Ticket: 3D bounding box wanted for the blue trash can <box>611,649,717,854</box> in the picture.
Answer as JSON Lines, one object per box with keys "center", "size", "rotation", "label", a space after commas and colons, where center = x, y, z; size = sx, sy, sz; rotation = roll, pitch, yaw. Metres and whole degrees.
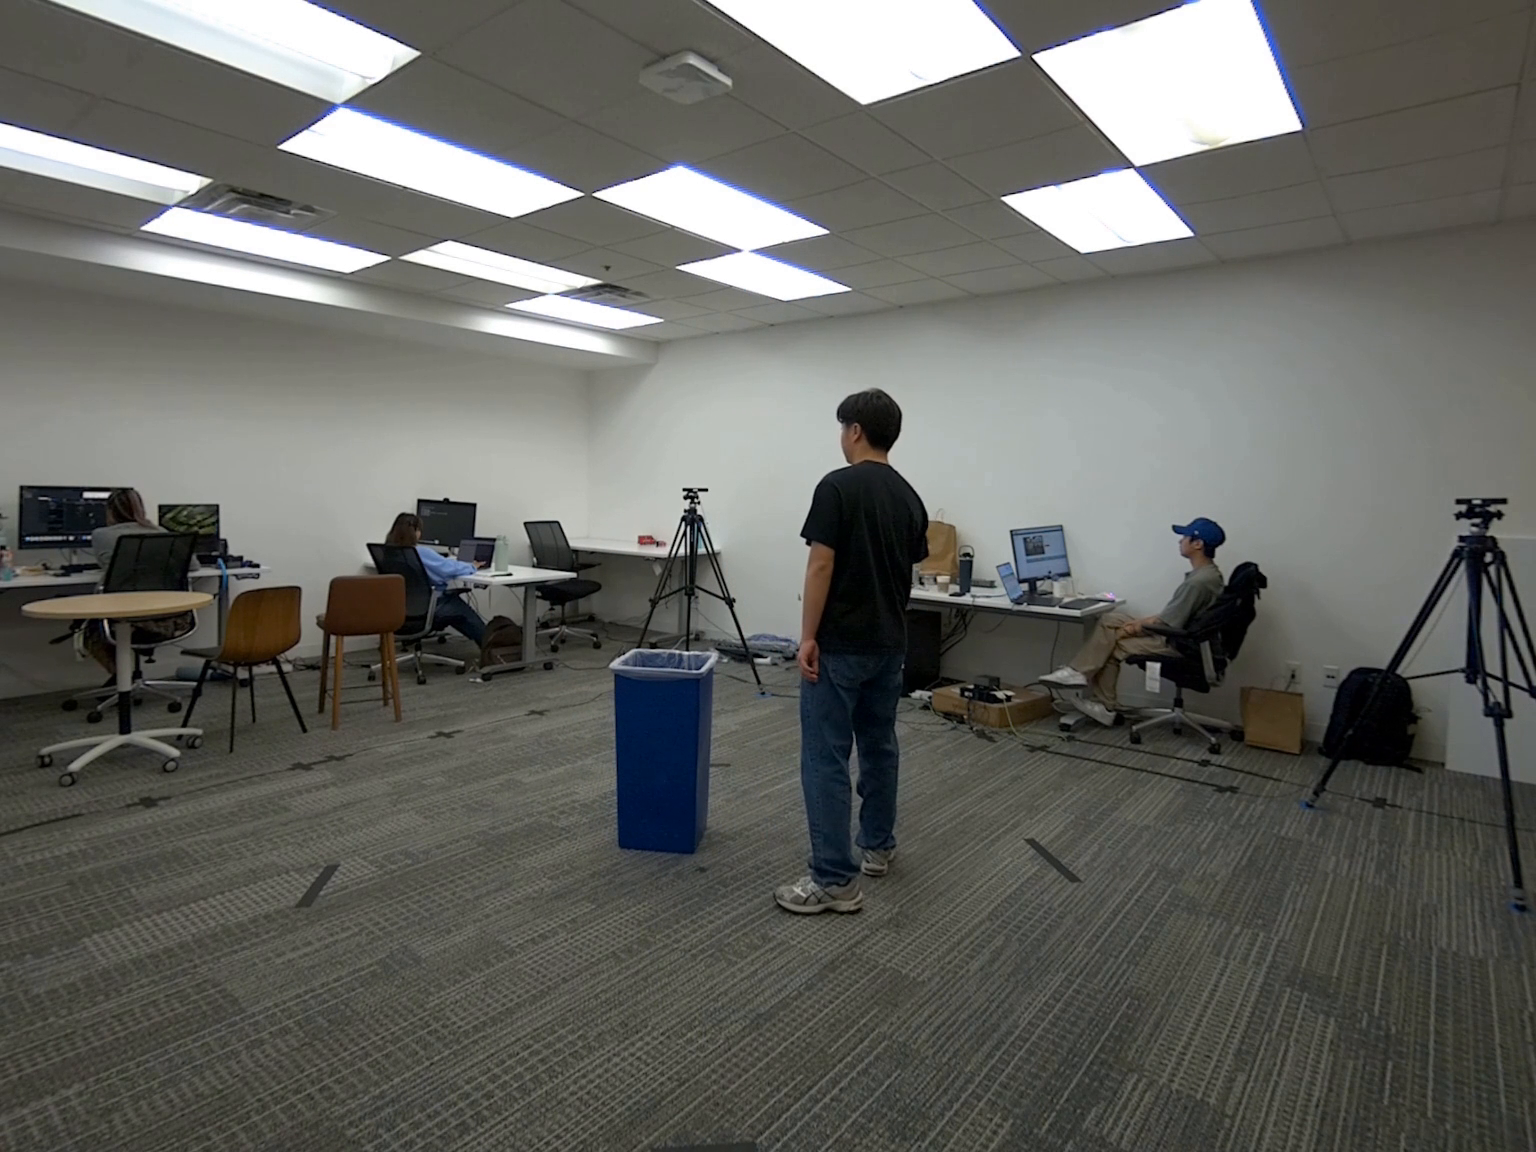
{"center": [-0.427, 0.680, 3.390], "size": [0.382, 0.710, 0.372], "rotation": [1, 5, 7], "label": "blue trash can"}
